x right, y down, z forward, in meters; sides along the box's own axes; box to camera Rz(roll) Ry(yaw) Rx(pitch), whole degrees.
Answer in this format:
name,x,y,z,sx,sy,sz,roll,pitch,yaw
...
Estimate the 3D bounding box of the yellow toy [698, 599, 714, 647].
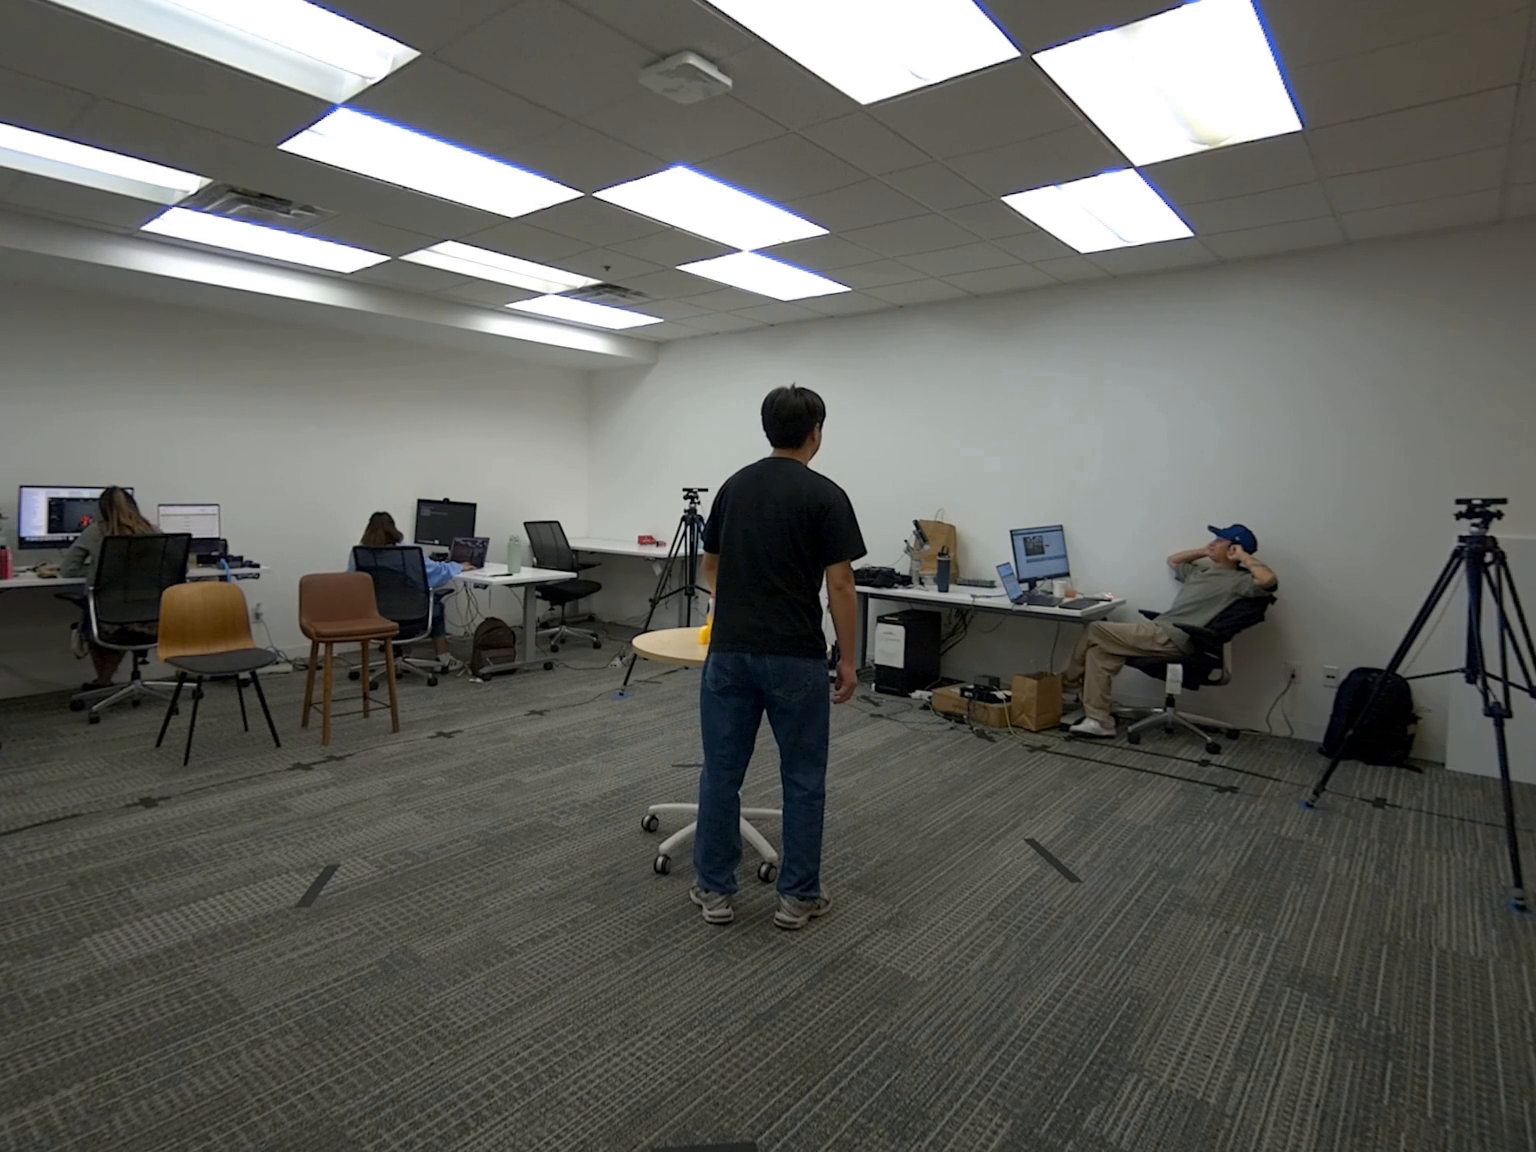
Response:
name,x,y,z,sx,sy,sz,roll,pitch,yaw
yellow toy,-0.173,0.141,3.310,0.208,0.230,0.190,2,3,14
